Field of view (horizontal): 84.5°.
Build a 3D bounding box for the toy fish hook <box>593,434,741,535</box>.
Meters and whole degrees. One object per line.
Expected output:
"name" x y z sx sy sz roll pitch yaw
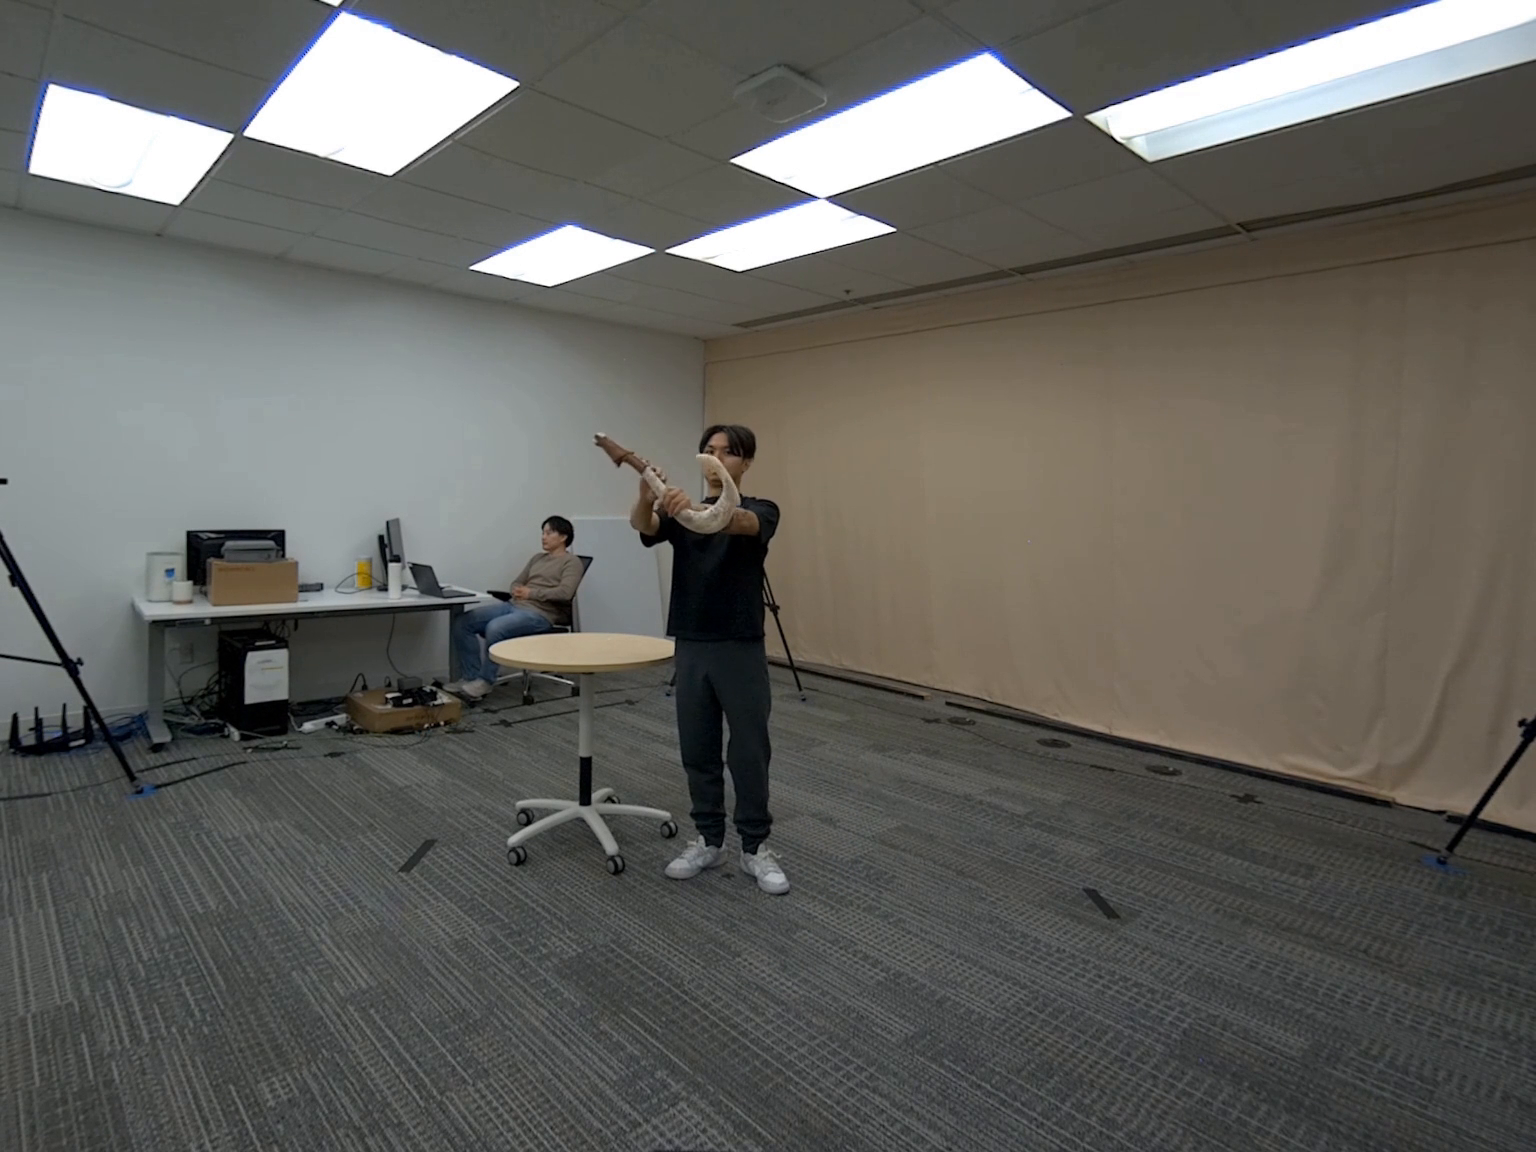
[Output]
"toy fish hook" -0.323 -0.331 2.584 0.512 0.224 0.048 37 6 10
